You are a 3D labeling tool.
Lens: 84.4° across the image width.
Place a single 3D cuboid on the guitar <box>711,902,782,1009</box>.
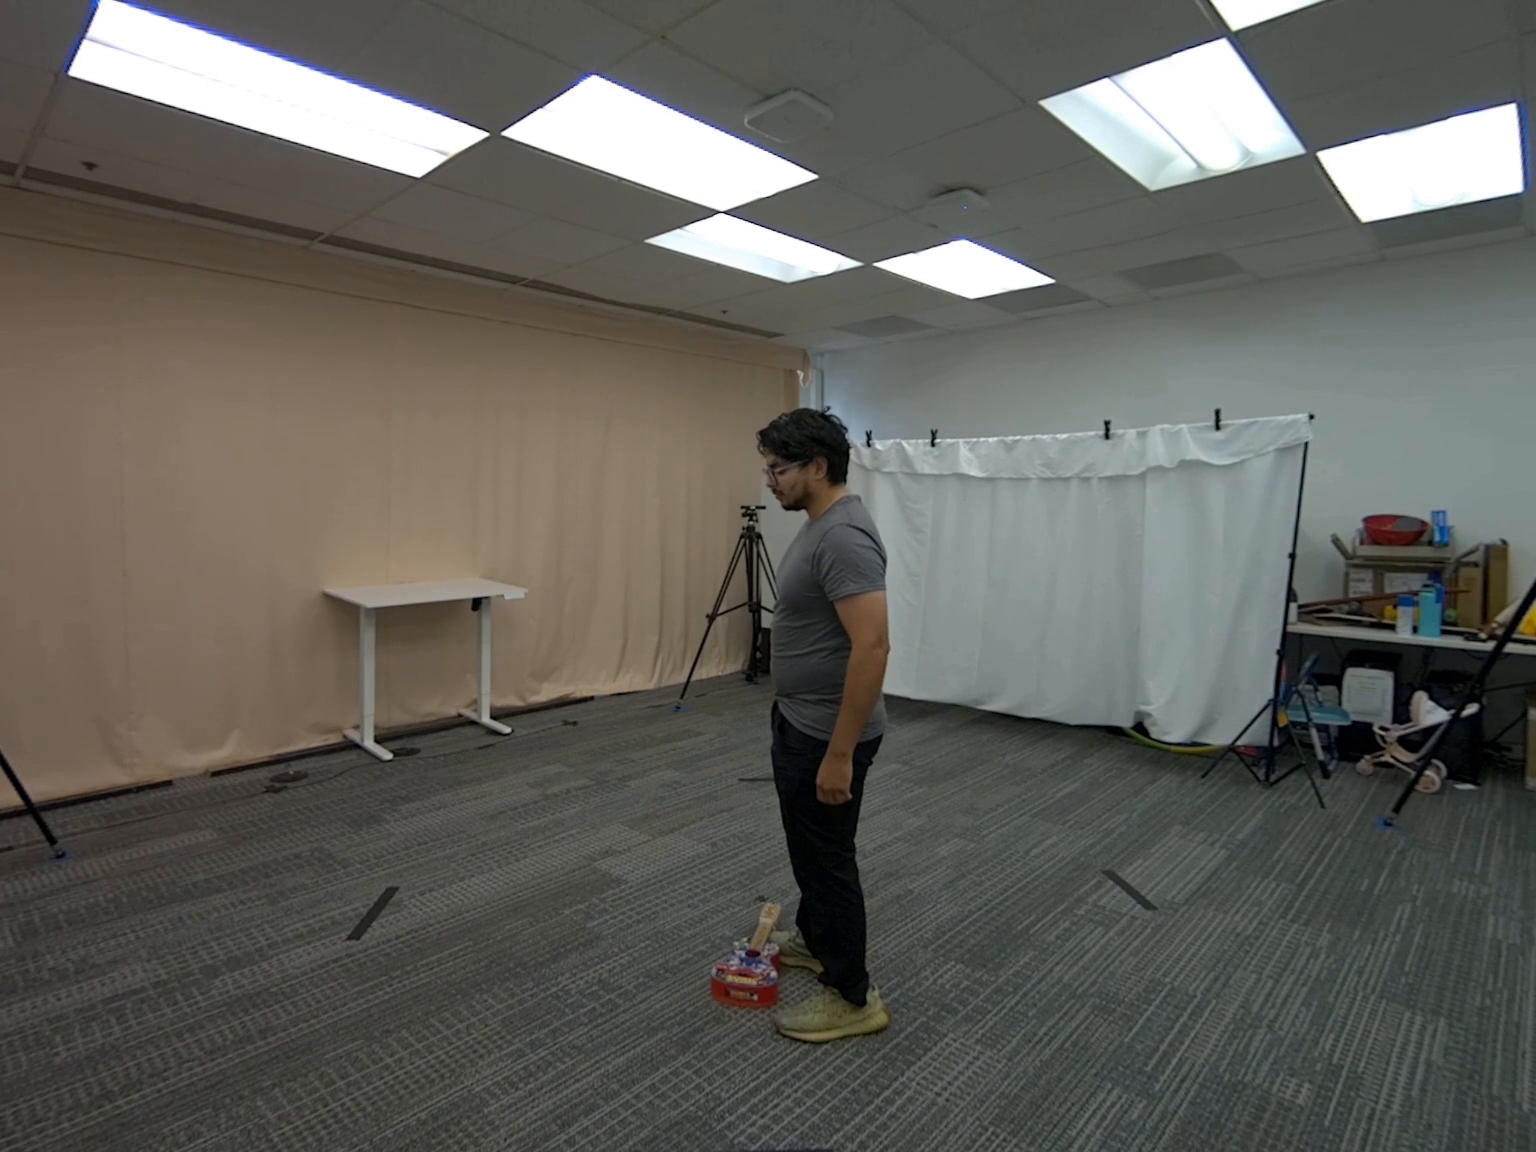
[{"bbox_3d":[0.002,1.145,2.565,0.197,0.070,0.487,2,6,22],"label":"guitar"}]
